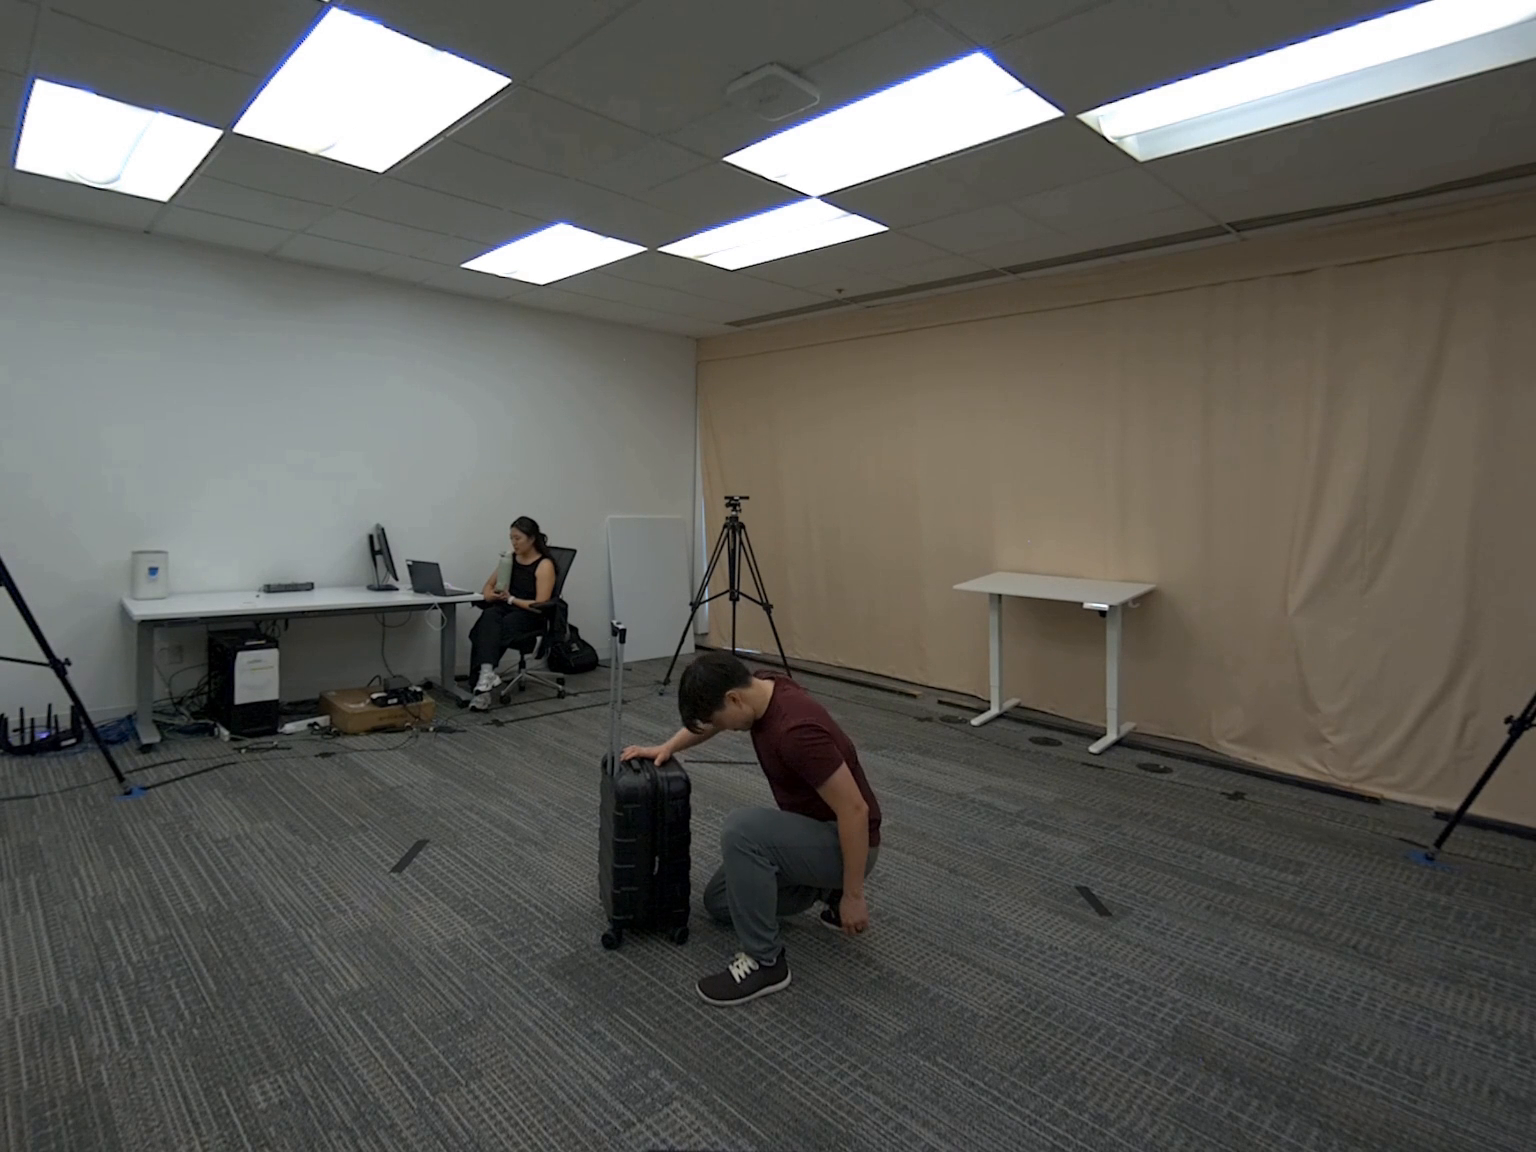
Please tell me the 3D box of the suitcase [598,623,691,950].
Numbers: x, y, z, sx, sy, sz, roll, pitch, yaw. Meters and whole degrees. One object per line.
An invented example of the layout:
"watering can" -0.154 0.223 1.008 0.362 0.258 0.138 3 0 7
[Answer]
"suitcase" -0.402 0.653 2.733 0.254 0.976 0.389 2 4 -15
